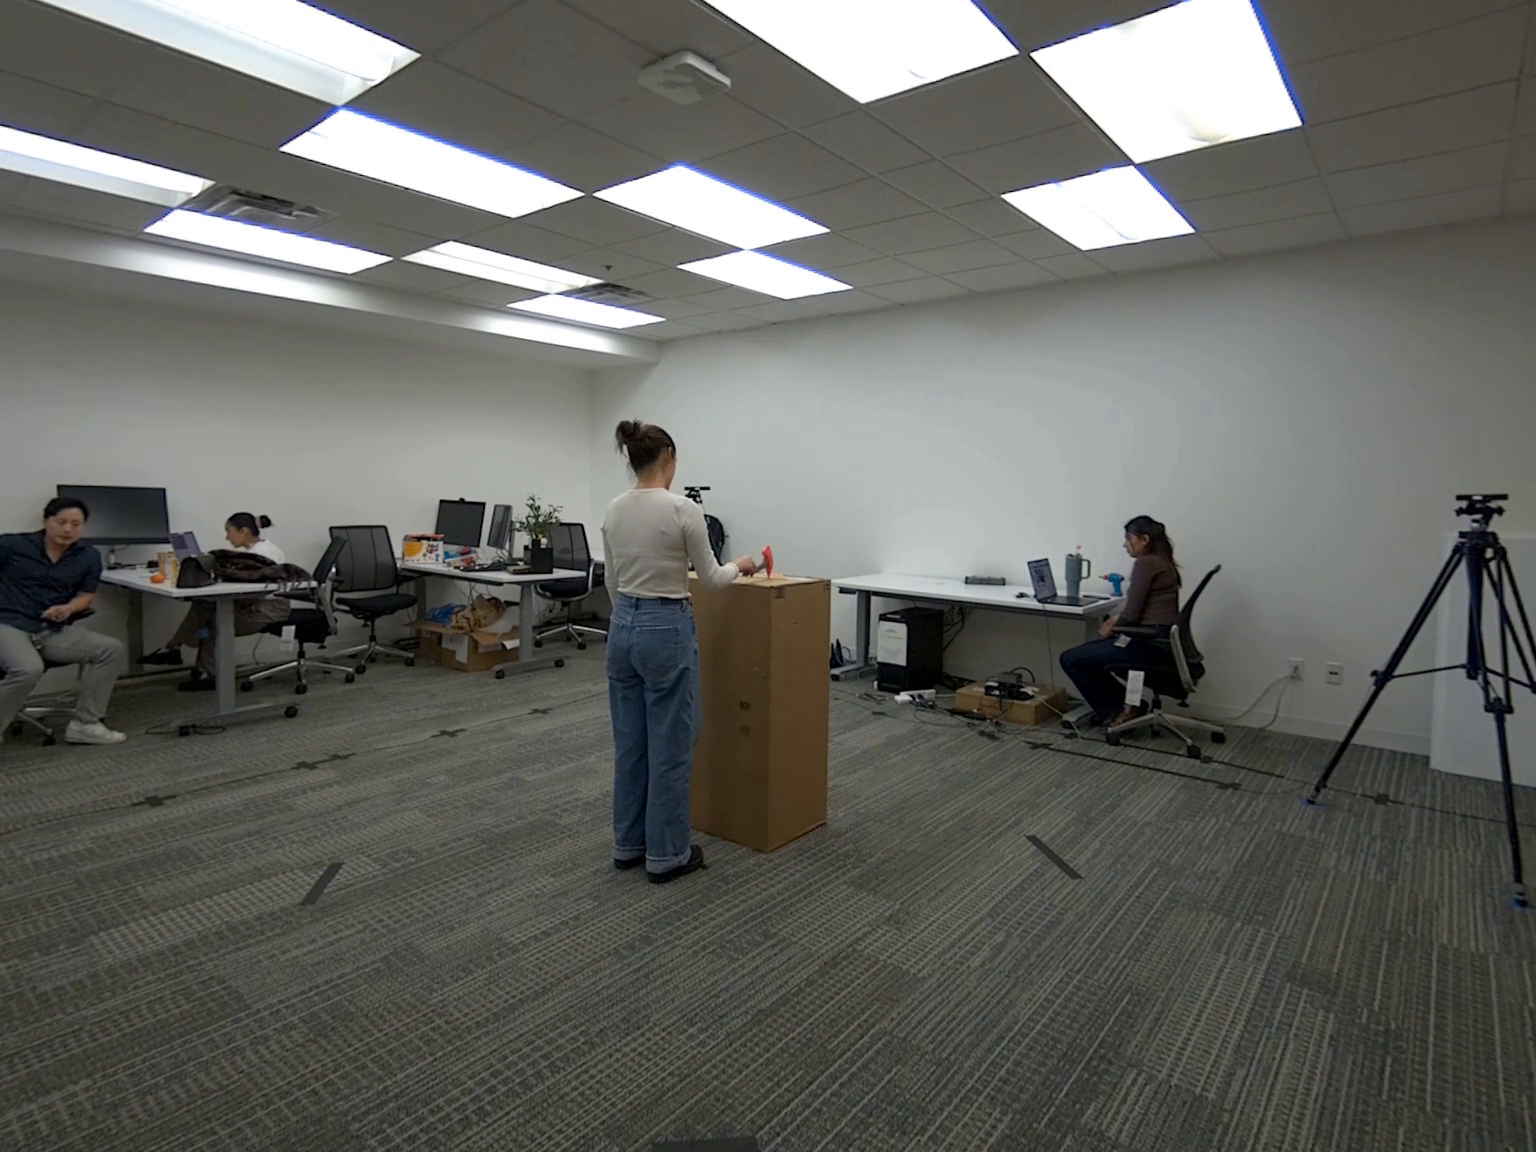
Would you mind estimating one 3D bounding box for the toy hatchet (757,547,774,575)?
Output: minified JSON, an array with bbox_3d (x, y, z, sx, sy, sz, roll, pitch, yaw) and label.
[{"bbox_3d":[-0.043,-0.074,3.390,0.030,0.131,0.263,6,0,20],"label":"toy hatchet"}]
